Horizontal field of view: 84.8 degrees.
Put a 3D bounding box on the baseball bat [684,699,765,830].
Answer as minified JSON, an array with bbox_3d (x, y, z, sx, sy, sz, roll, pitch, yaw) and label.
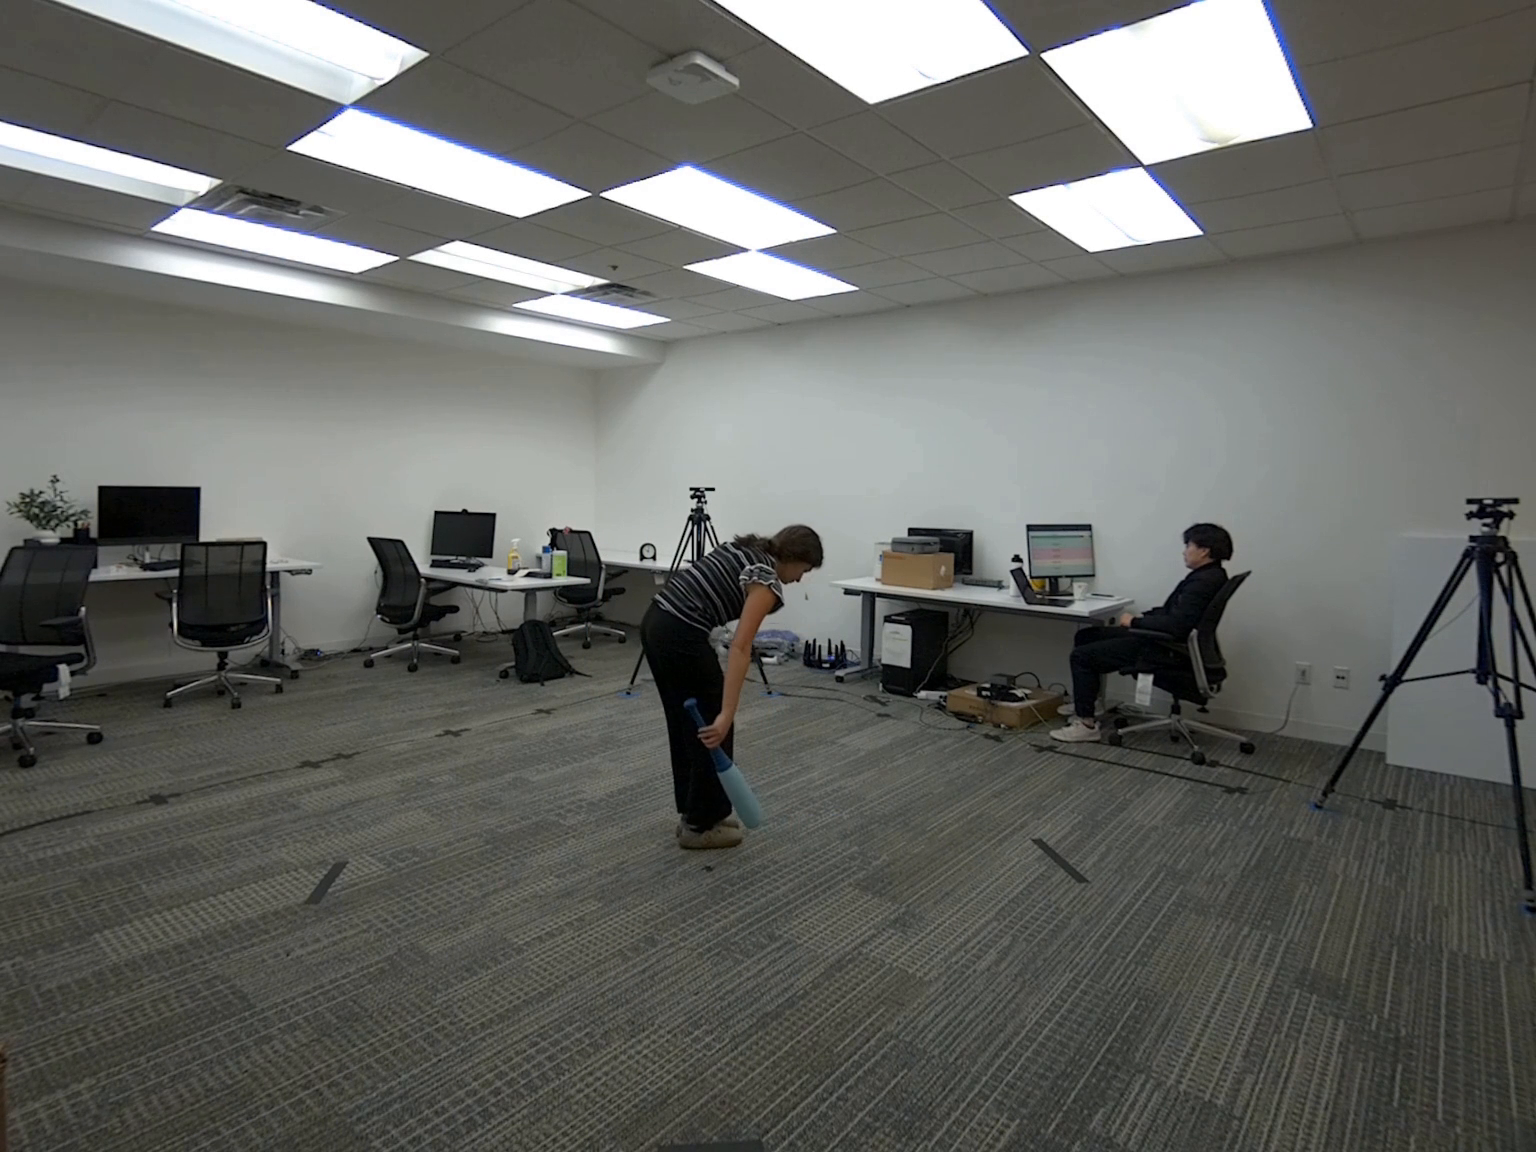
[{"bbox_3d":[-0.182,0.690,3.151,0.089,0.537,0.090,-27,8,3],"label":"baseball bat"}]
